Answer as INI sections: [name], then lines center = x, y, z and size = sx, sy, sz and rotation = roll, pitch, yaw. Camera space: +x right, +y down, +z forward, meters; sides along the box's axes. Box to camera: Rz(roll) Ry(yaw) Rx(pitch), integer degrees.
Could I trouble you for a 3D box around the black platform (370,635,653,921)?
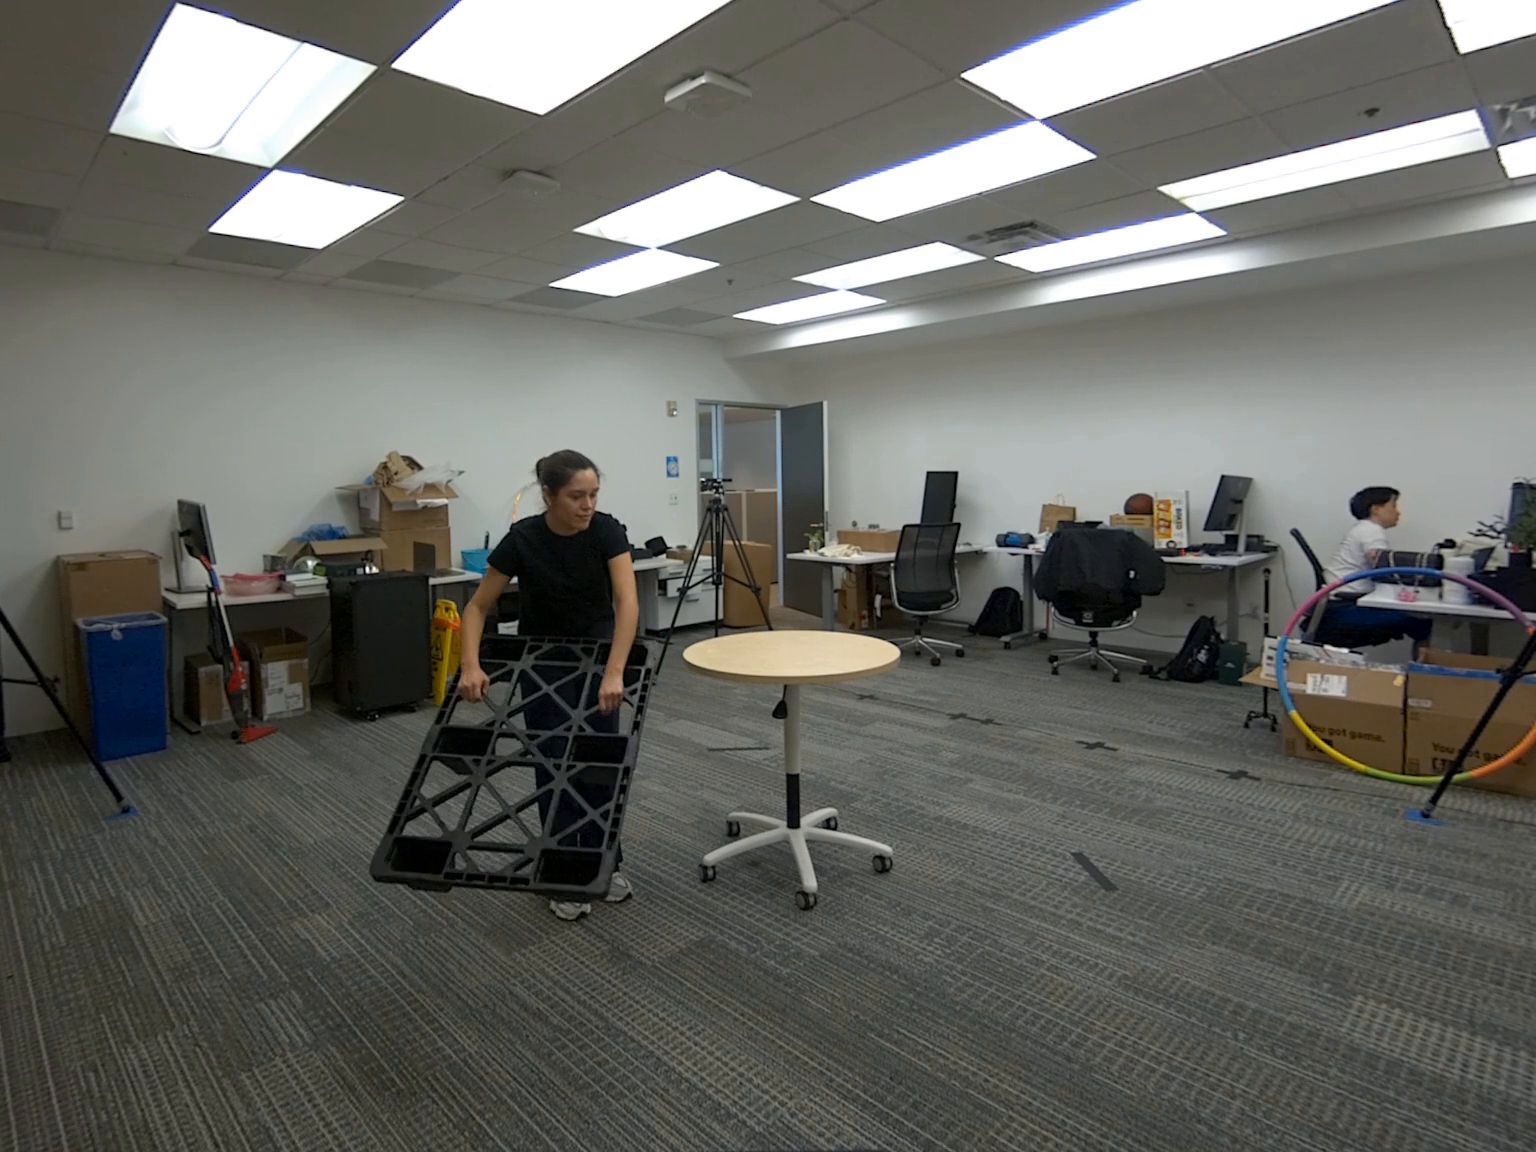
[black platform]
center = -0.642, 0.506, 2.395
size = 0.608, 0.139, 0.824
rotation = 2, 43, 4
